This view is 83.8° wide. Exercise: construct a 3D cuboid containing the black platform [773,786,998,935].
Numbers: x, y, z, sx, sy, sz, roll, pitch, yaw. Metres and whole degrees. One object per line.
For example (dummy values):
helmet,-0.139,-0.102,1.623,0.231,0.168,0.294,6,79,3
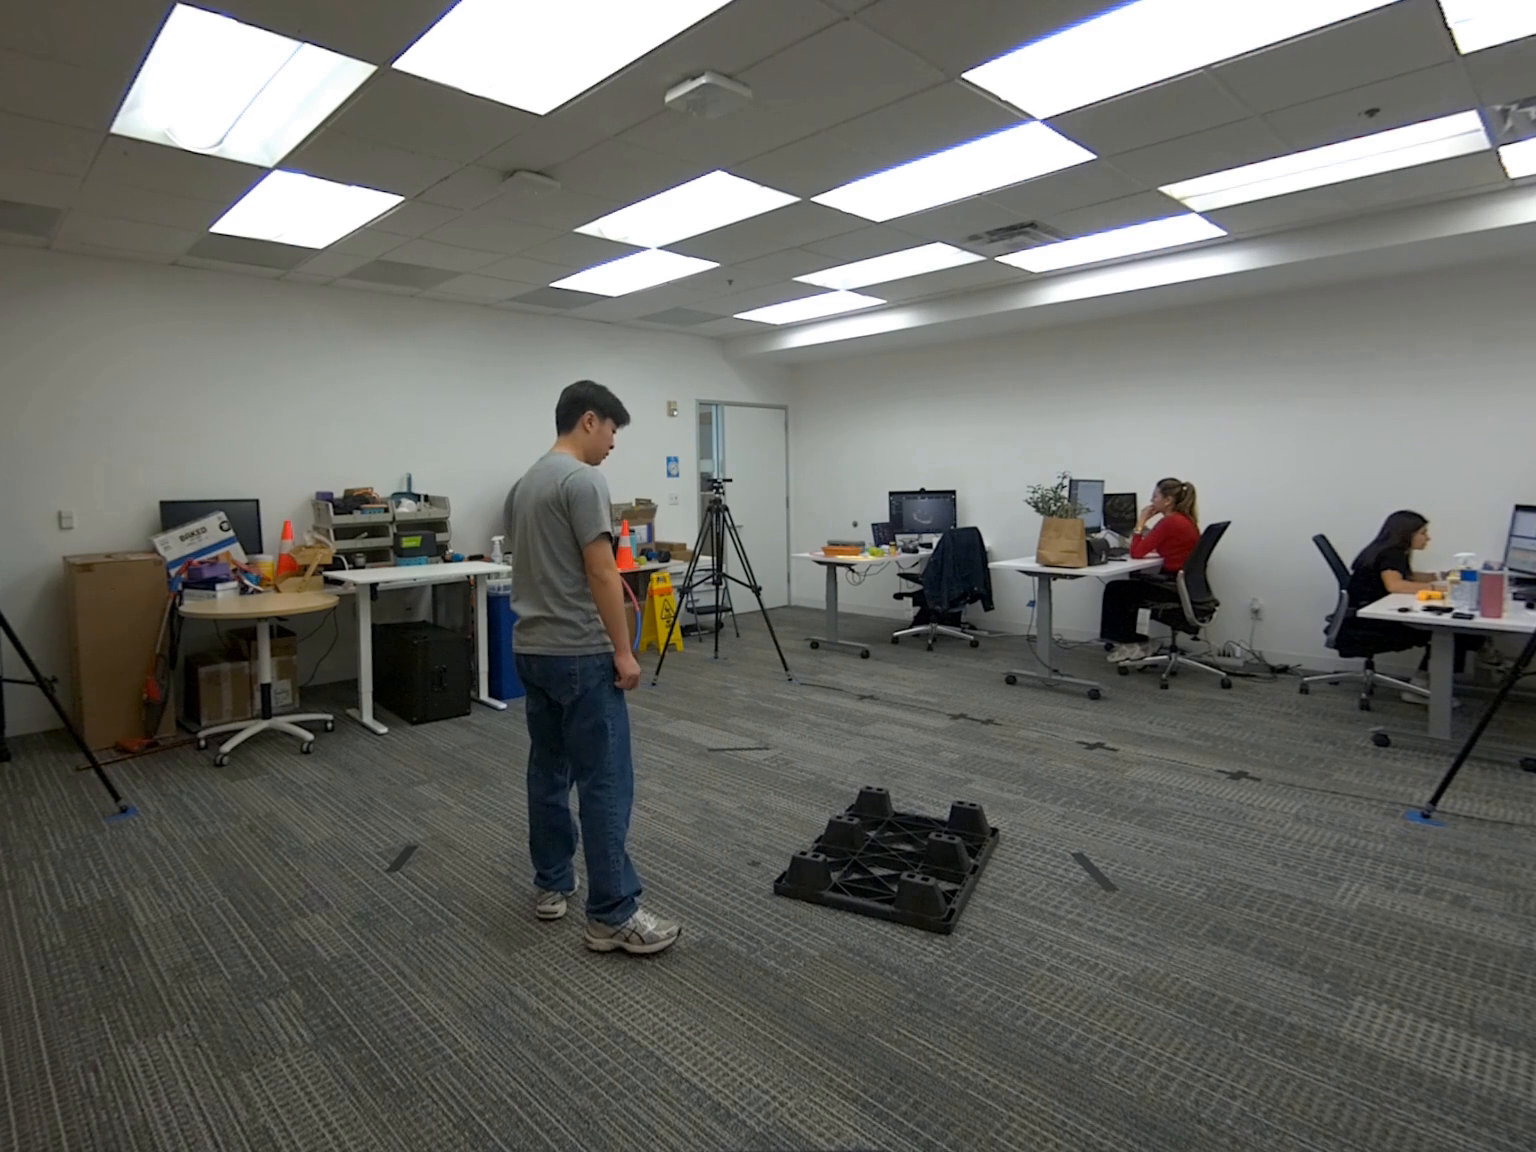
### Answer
black platform,0.456,0.973,3.071,0.620,0.142,0.790,2,7,26
